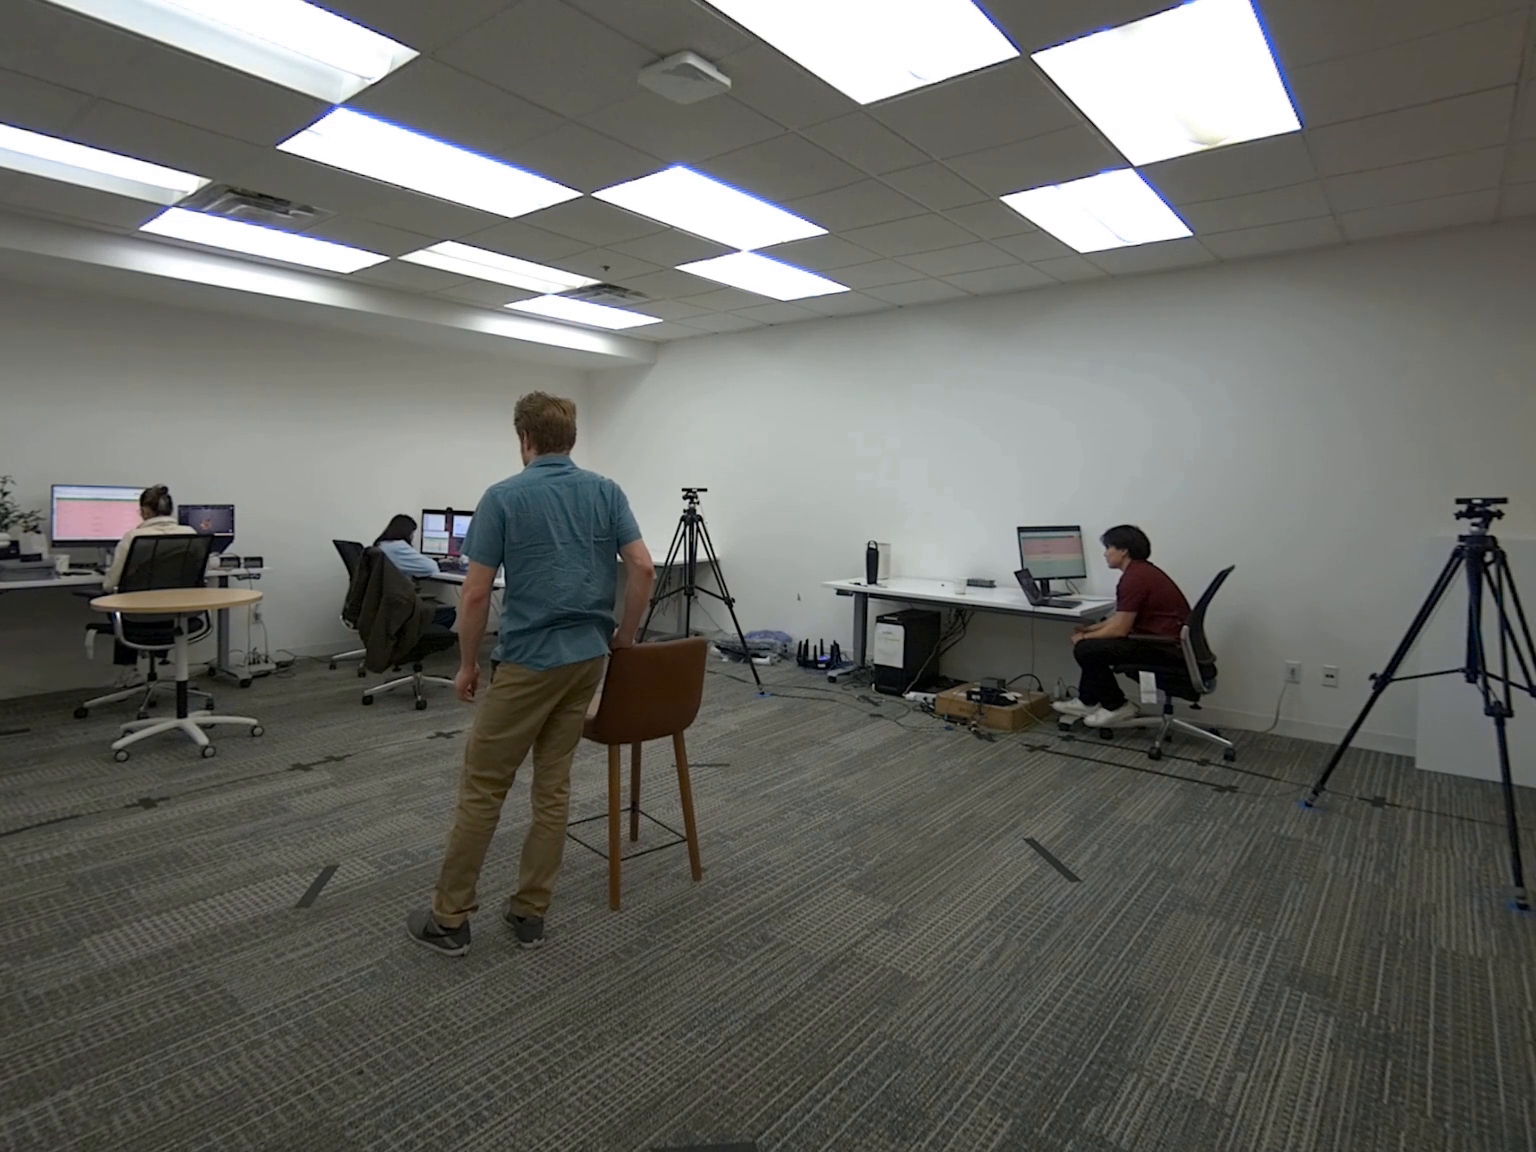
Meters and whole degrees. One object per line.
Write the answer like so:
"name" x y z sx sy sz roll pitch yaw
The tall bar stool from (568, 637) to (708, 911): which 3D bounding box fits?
"tall bar stool" -0.515 0.636 3.055 0.442 0.886 0.484 -1 6 -42
